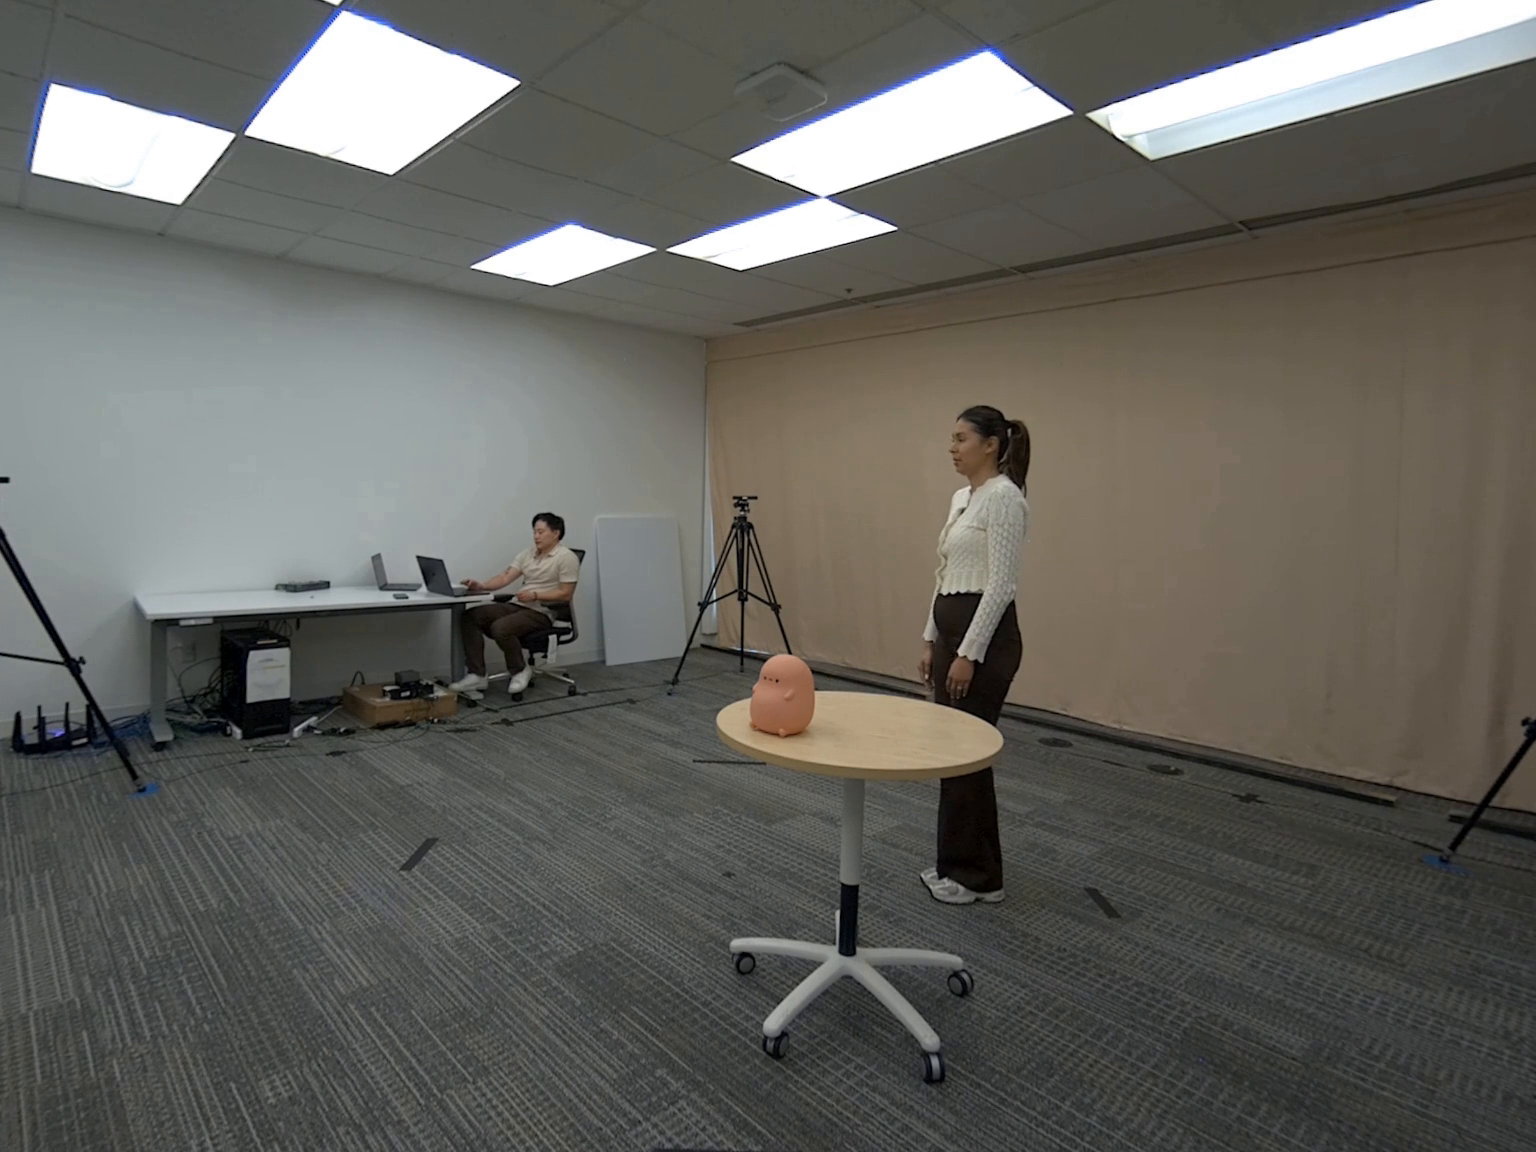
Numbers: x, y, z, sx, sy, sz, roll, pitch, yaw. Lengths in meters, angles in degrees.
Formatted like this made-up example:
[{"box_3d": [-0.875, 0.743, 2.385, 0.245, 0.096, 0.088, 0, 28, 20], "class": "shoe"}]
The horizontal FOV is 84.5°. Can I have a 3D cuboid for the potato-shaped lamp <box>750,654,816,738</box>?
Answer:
[{"box_3d": [0.036, 0.309, 2.199, 0.168, 0.198, 0.168, 5, 3, 34], "class": "potato-shaped lamp"}]
